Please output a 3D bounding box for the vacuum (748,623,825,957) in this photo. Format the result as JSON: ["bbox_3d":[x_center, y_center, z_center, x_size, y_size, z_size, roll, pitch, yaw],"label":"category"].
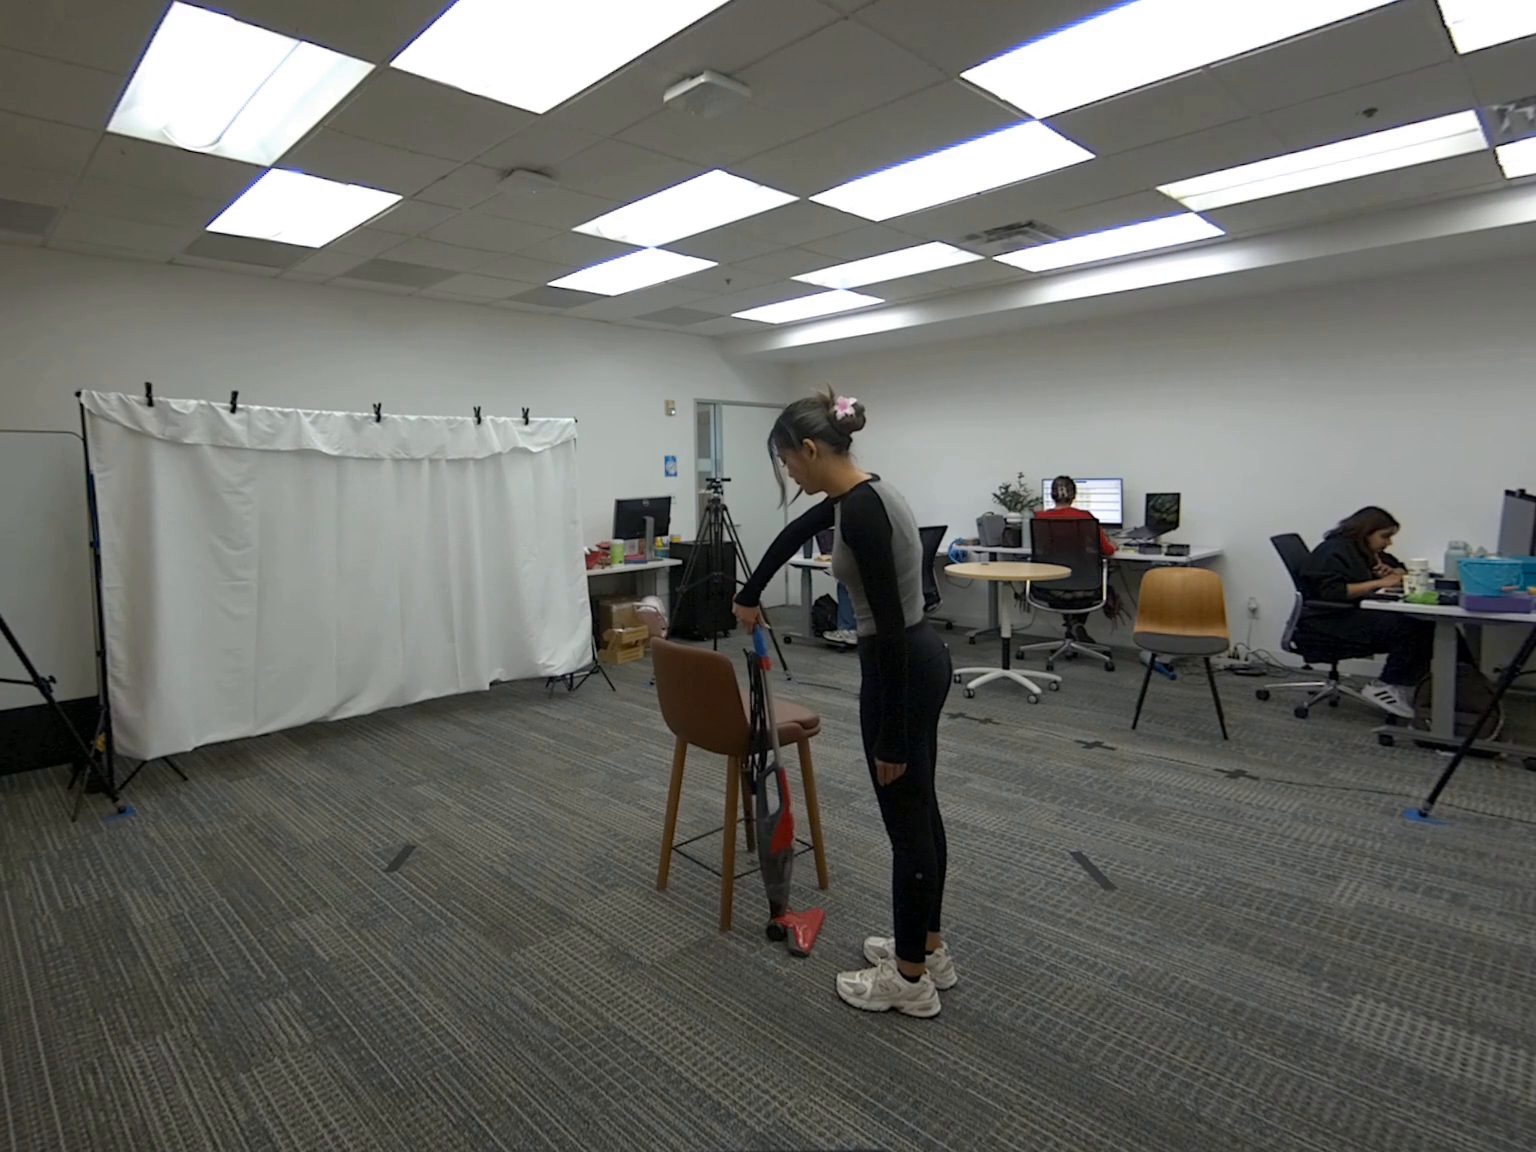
[{"bbox_3d":[0.012,0.581,2.615,0.140,1.051,0.258,-1,-1,-29],"label":"vacuum"}]
